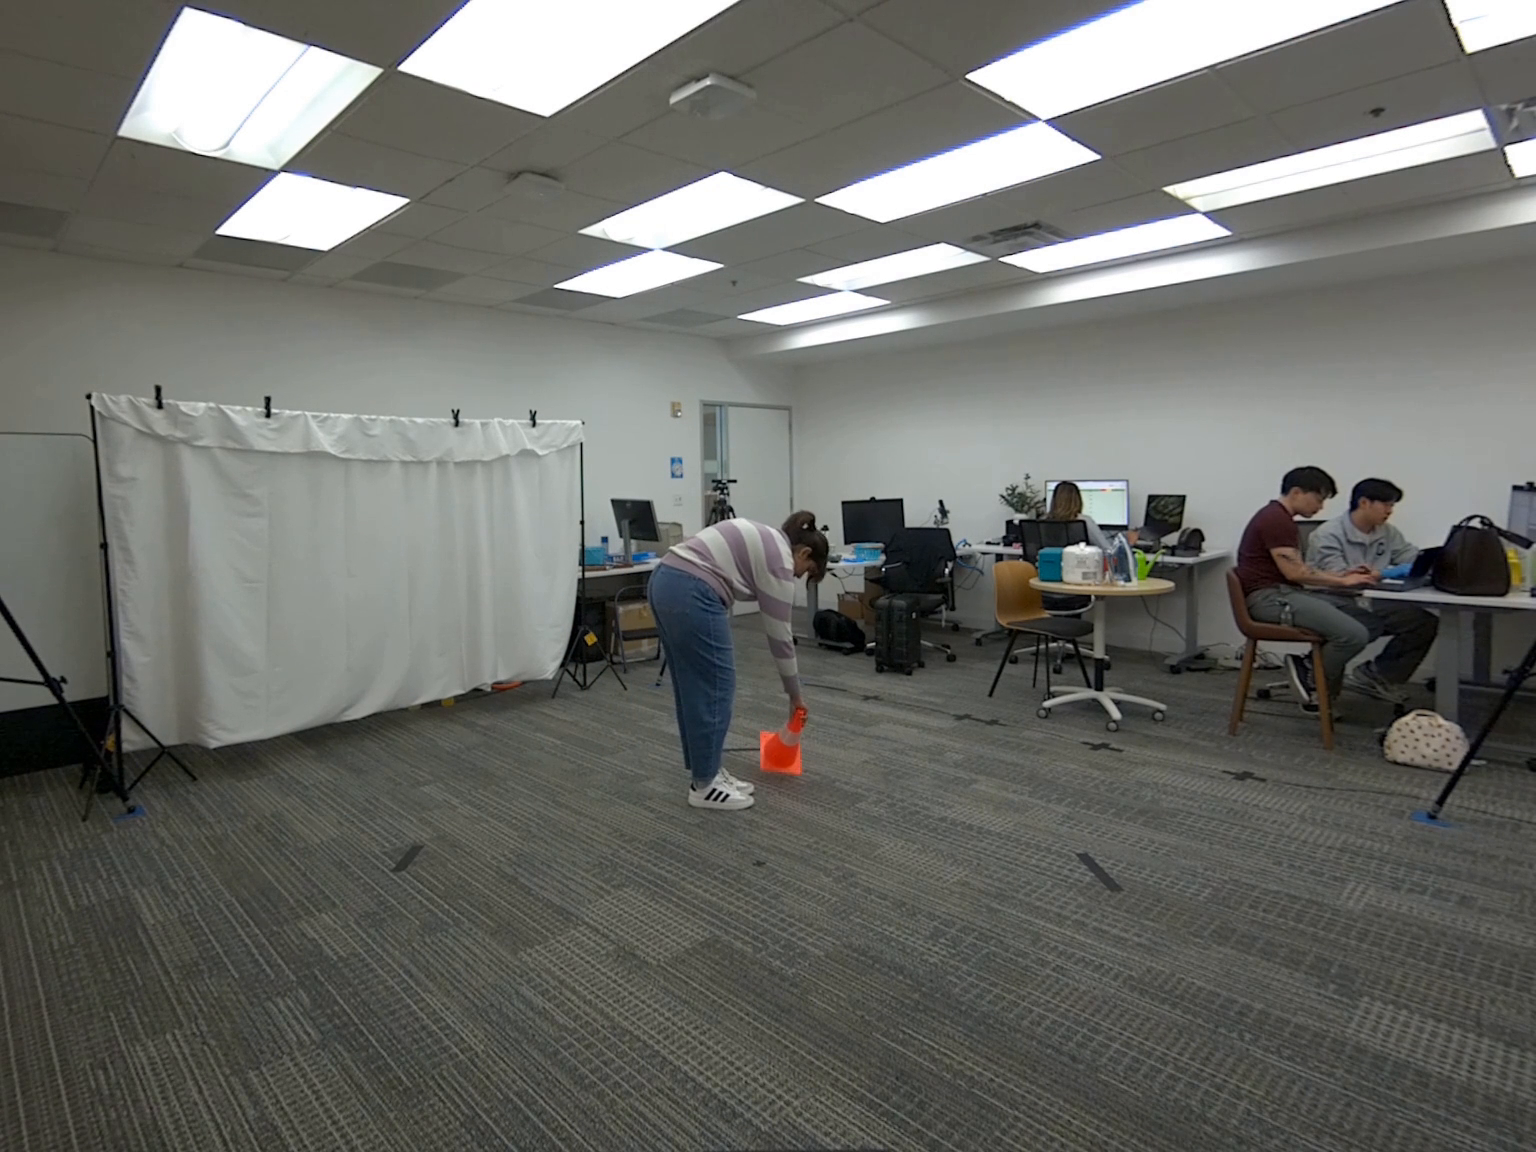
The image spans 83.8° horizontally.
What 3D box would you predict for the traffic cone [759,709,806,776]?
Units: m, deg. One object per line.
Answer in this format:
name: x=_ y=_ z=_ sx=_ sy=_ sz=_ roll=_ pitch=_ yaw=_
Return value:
traffic cone: x=0.111 y=0.720 z=3.884 sx=0.201 sy=0.210 sz=0.378 roll=12 pitch=-41 yaw=-9
